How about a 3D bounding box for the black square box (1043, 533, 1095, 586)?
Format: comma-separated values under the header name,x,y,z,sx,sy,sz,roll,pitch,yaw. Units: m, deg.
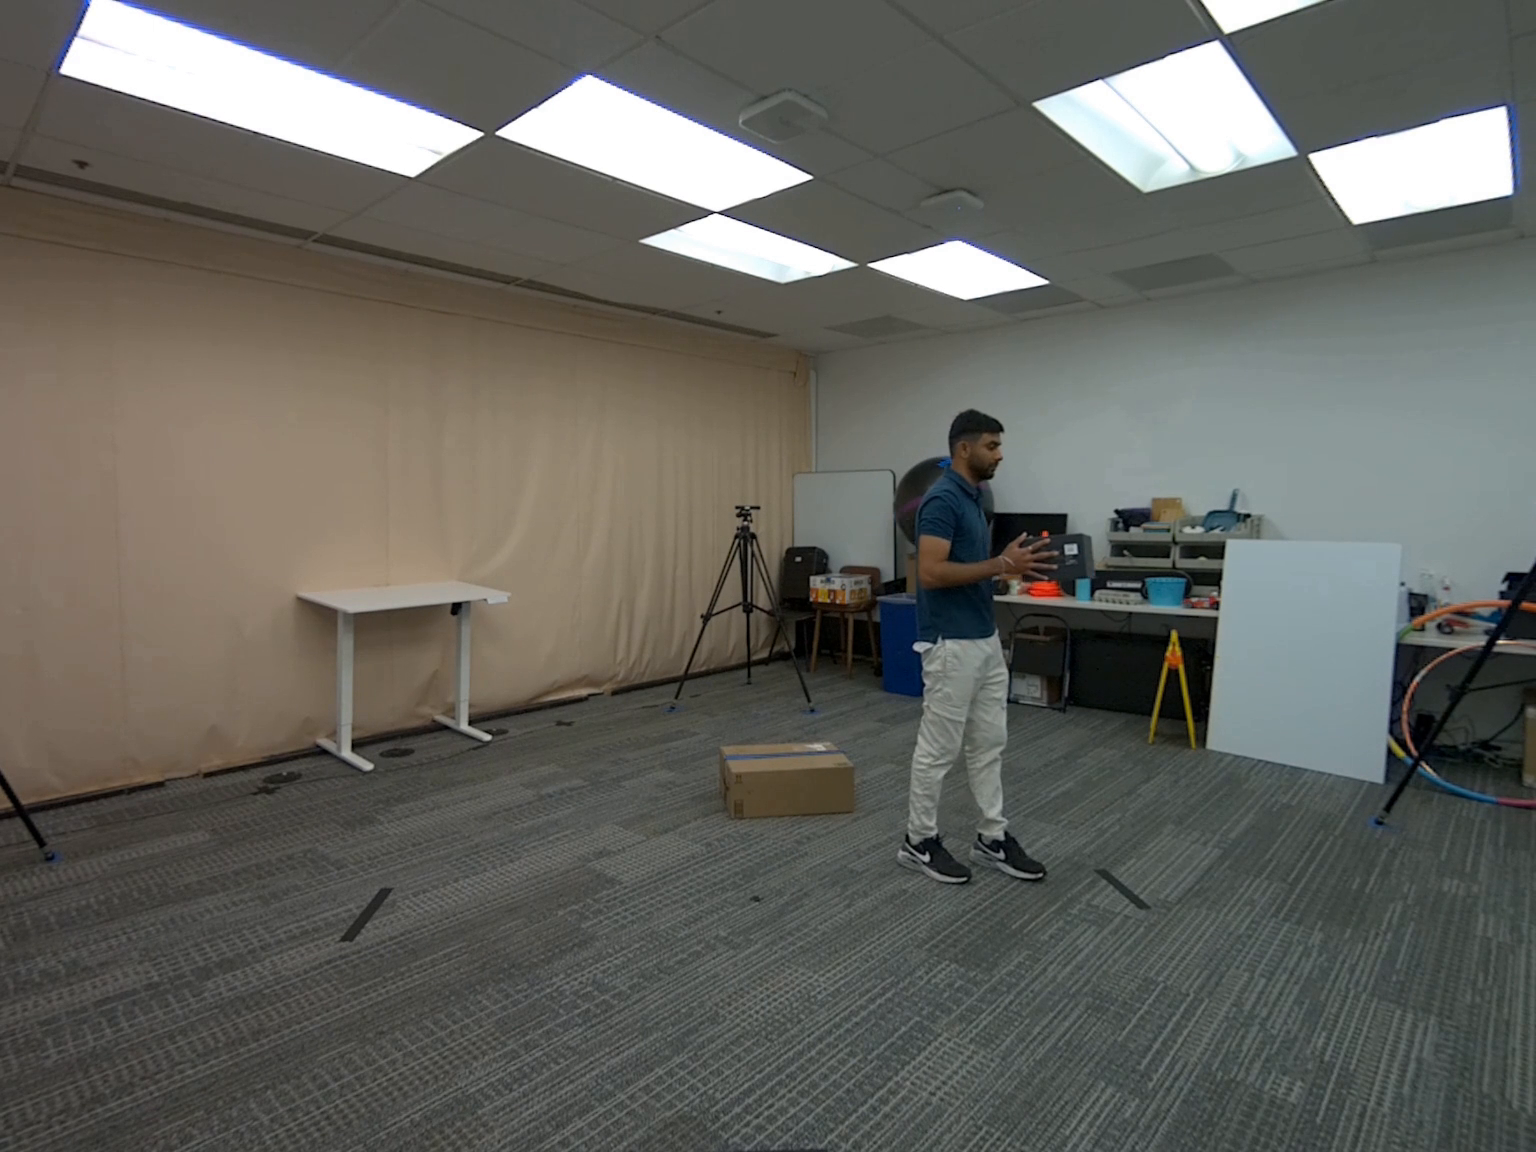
name,x,y,z,sx,sy,sz,roll,pitch,yaw
black square box,1.039,-0.062,3.031,0.222,0.156,0.221,-5,-3,29
